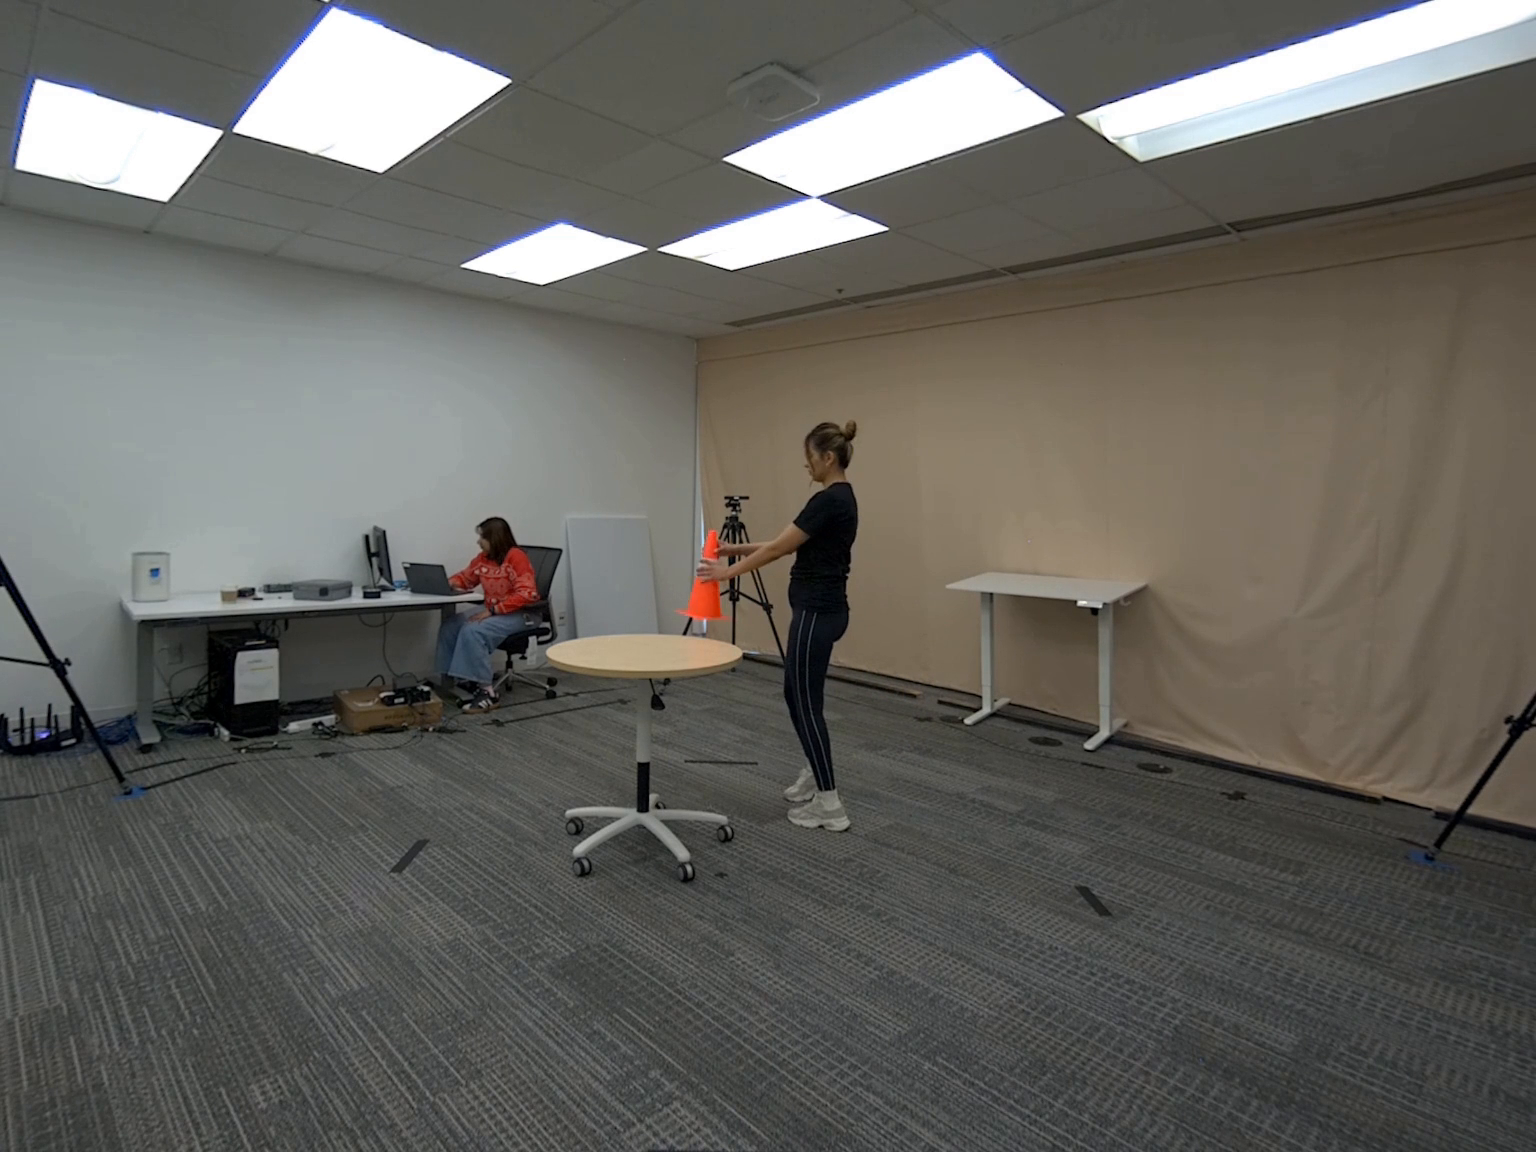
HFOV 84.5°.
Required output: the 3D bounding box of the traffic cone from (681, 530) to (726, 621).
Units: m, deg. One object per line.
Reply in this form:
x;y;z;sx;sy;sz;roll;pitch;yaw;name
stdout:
-0.265;-0.017;3.760;0.199;0.383;0.210;4;3;-34;traffic cone
